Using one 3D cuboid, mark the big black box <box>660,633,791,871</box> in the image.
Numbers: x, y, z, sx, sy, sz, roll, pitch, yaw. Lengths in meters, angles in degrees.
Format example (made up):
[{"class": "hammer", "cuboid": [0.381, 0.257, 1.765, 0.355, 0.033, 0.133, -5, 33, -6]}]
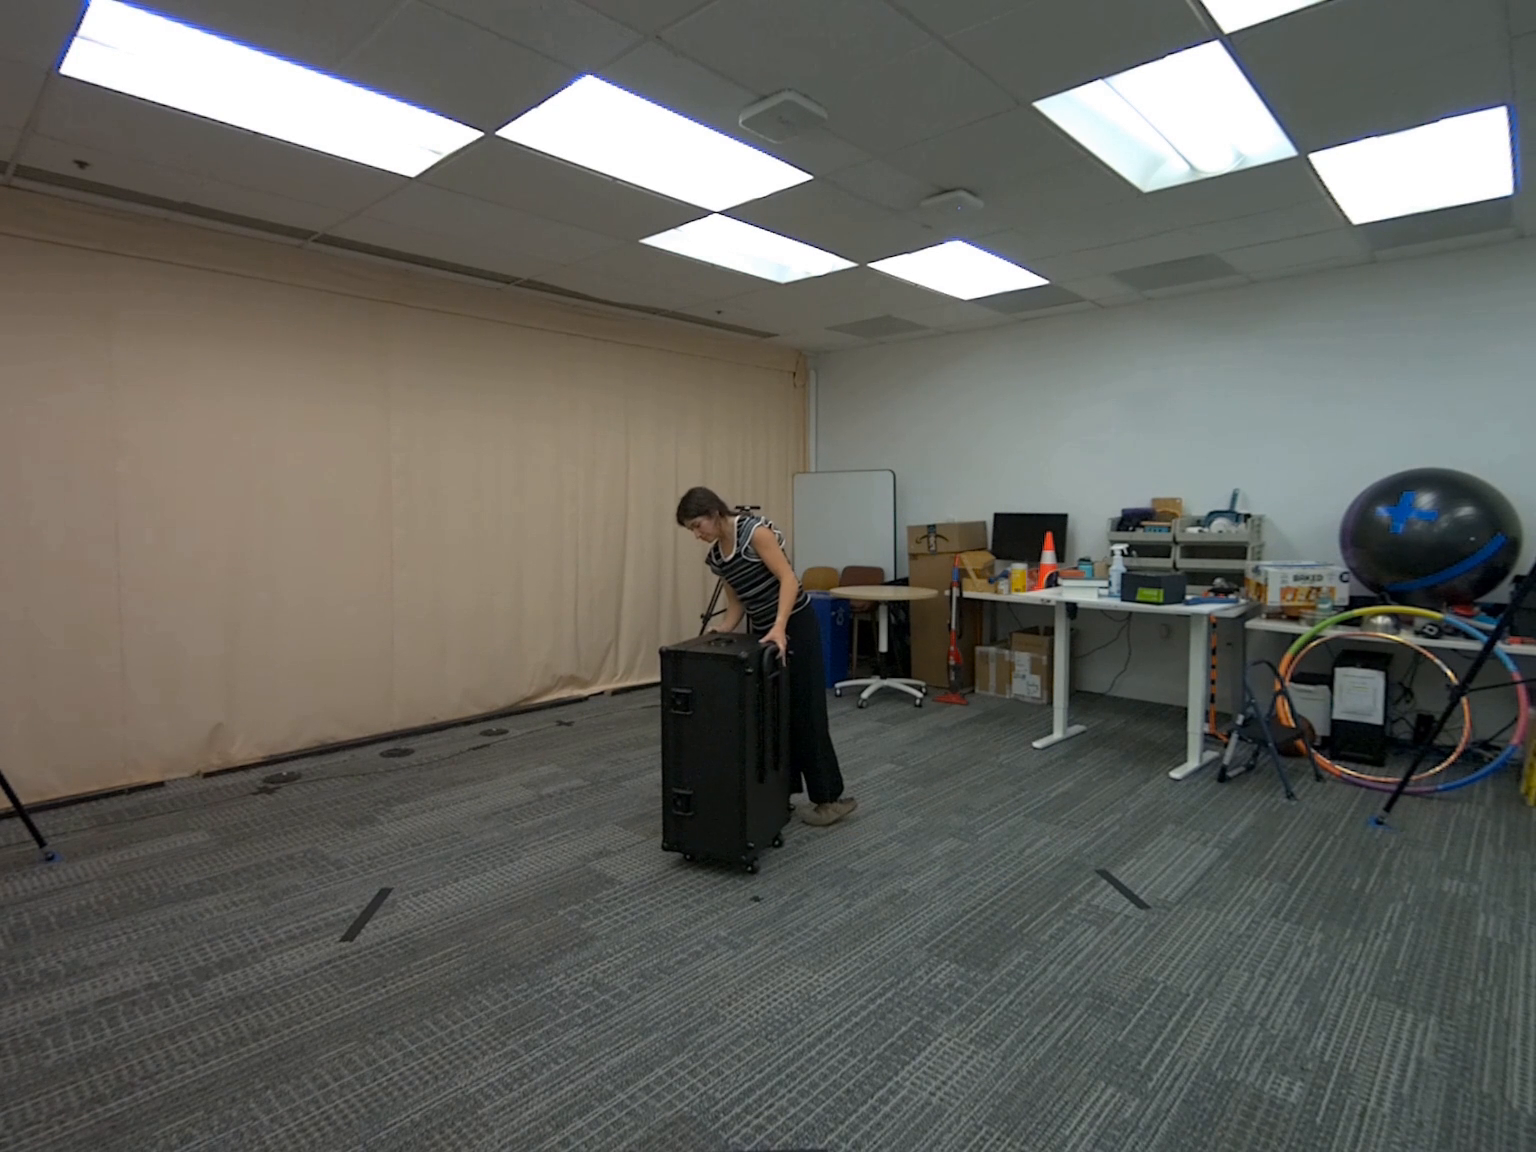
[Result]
[{"class": "big black box", "cuboid": [-0.153, 0.686, 3.356, 0.406, 0.860, 0.509, 1, 3, 23]}]
